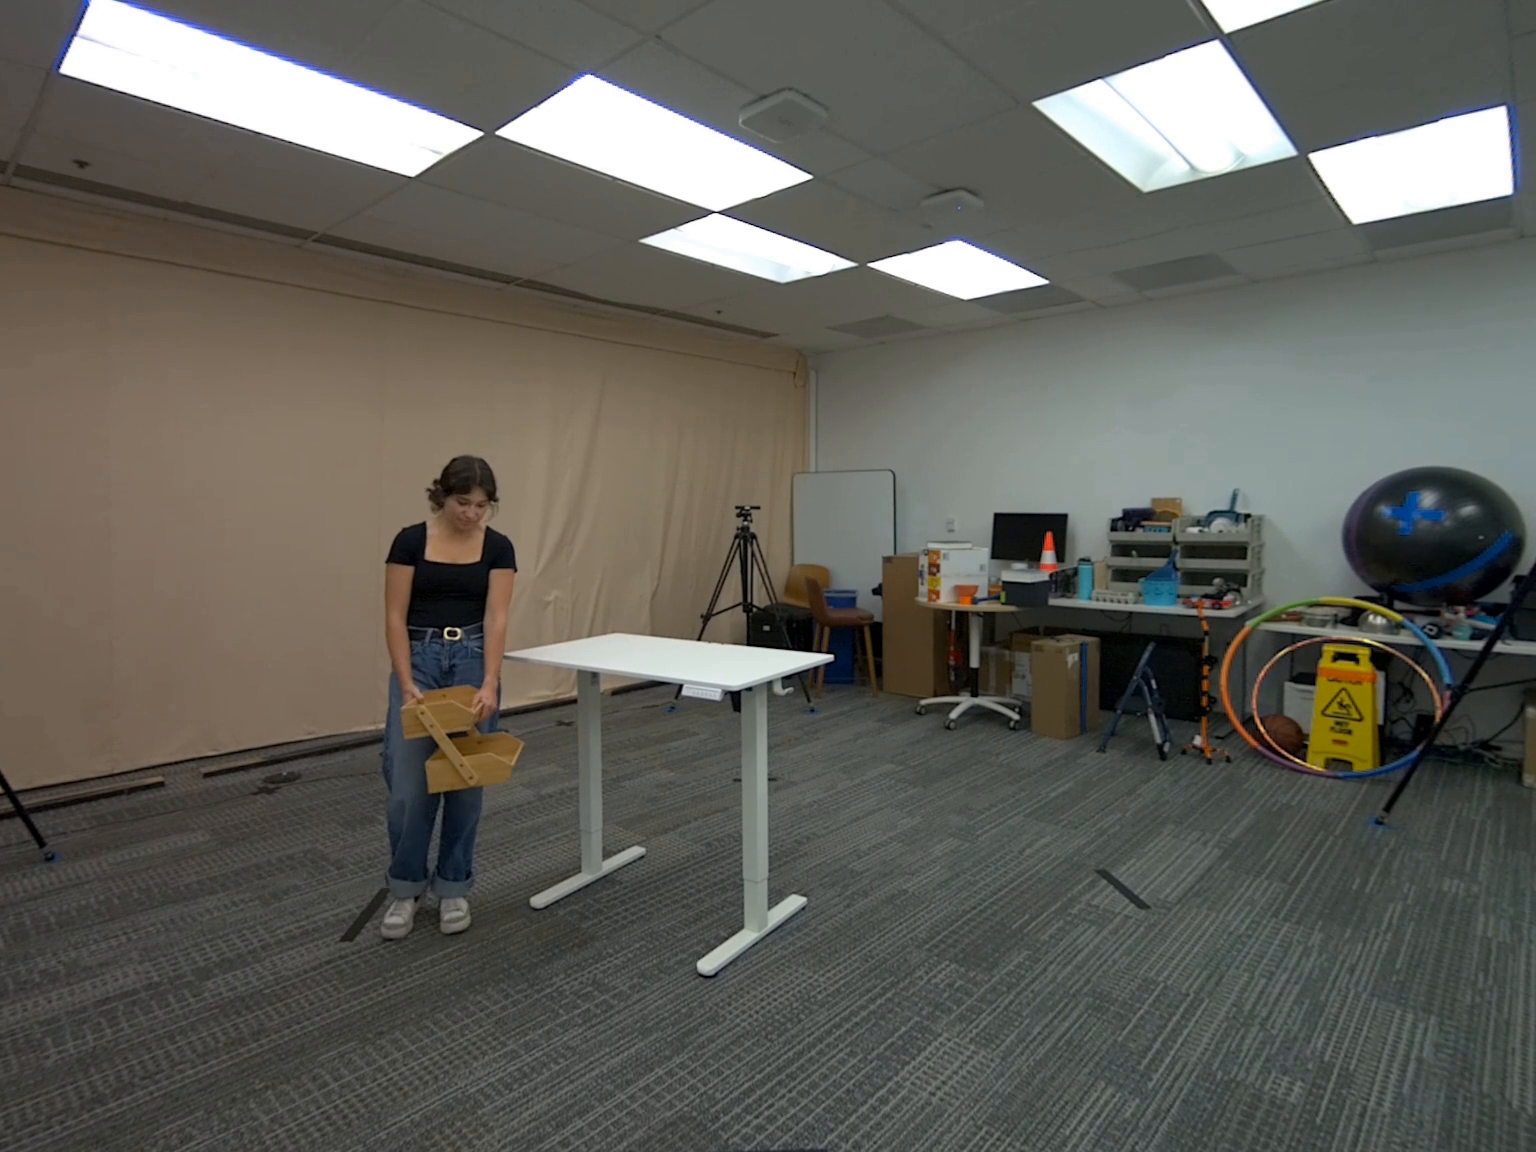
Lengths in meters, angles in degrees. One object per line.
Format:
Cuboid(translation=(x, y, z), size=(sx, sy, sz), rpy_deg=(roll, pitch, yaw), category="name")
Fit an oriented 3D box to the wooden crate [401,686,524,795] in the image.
Cuboid(translation=(-0.940, 0.494, 2.613), size=(0.300, 0.273, 0.327), rpy_deg=(-9, 1, -9), category="wooden crate")
